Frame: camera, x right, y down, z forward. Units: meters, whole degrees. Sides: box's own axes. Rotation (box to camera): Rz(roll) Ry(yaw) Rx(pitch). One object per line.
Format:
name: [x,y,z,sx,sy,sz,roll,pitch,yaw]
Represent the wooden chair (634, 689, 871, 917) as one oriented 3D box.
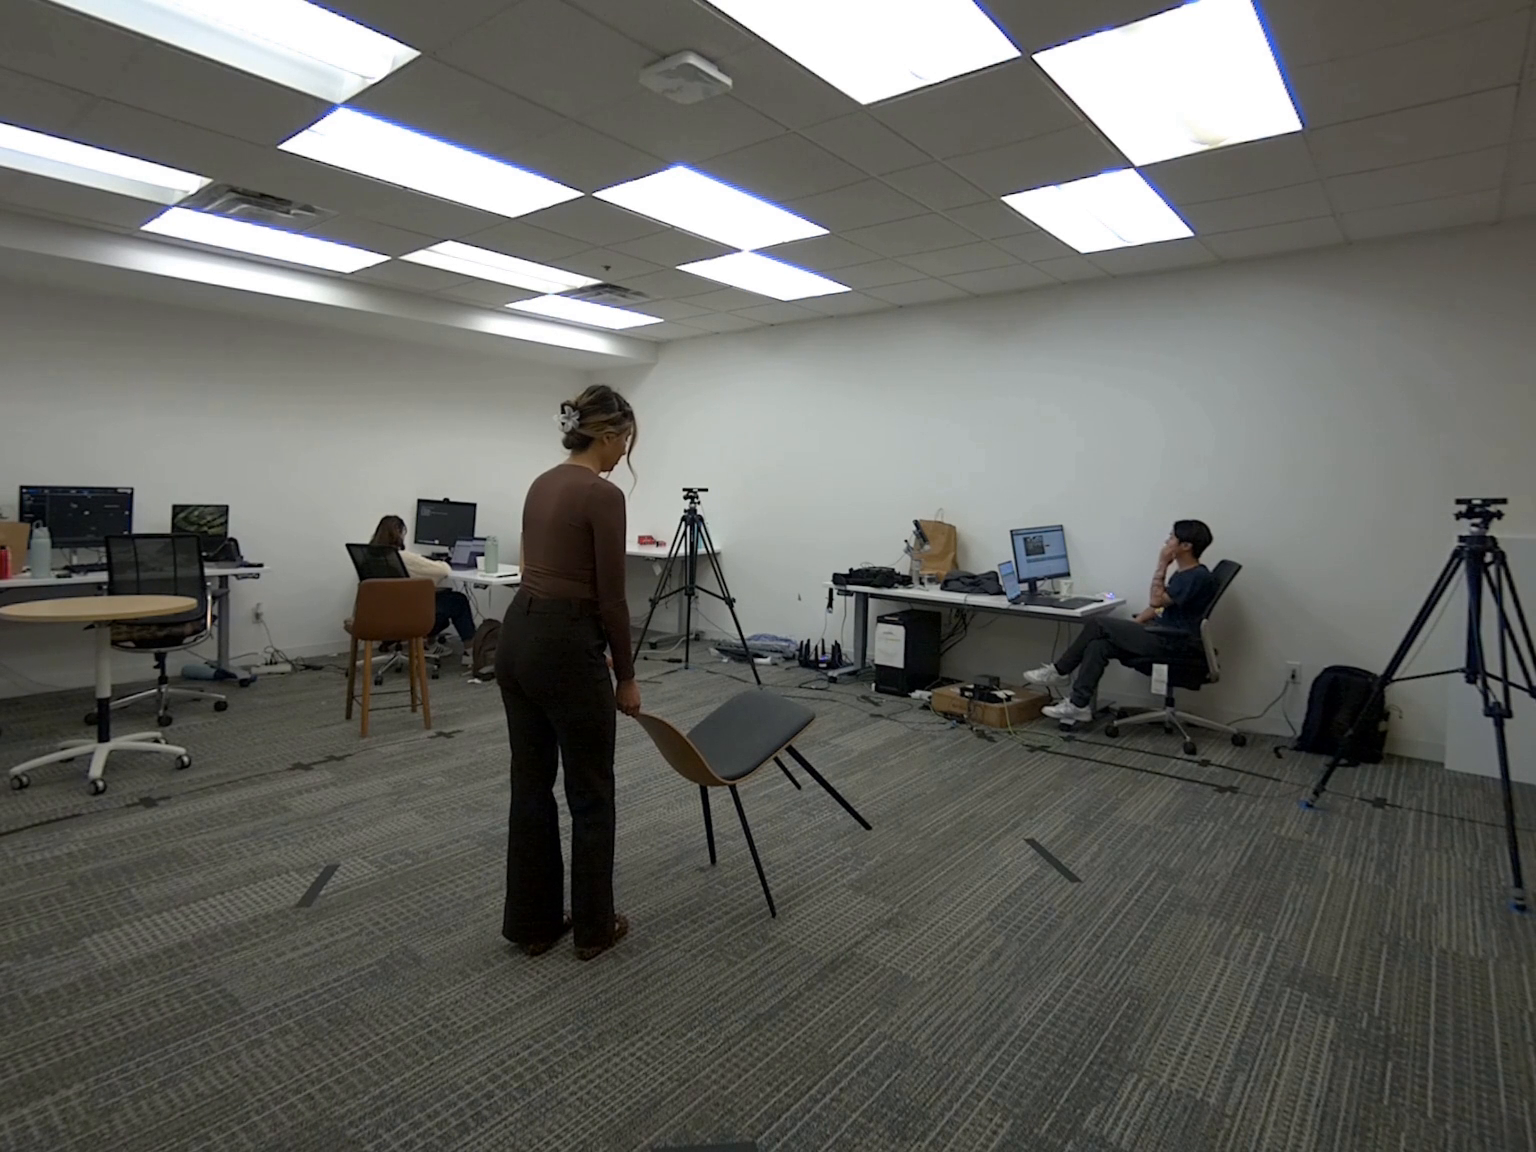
wooden chair: [-0.111,0.601,2.924,0.520,0.857,0.492,-38,20,-21]
